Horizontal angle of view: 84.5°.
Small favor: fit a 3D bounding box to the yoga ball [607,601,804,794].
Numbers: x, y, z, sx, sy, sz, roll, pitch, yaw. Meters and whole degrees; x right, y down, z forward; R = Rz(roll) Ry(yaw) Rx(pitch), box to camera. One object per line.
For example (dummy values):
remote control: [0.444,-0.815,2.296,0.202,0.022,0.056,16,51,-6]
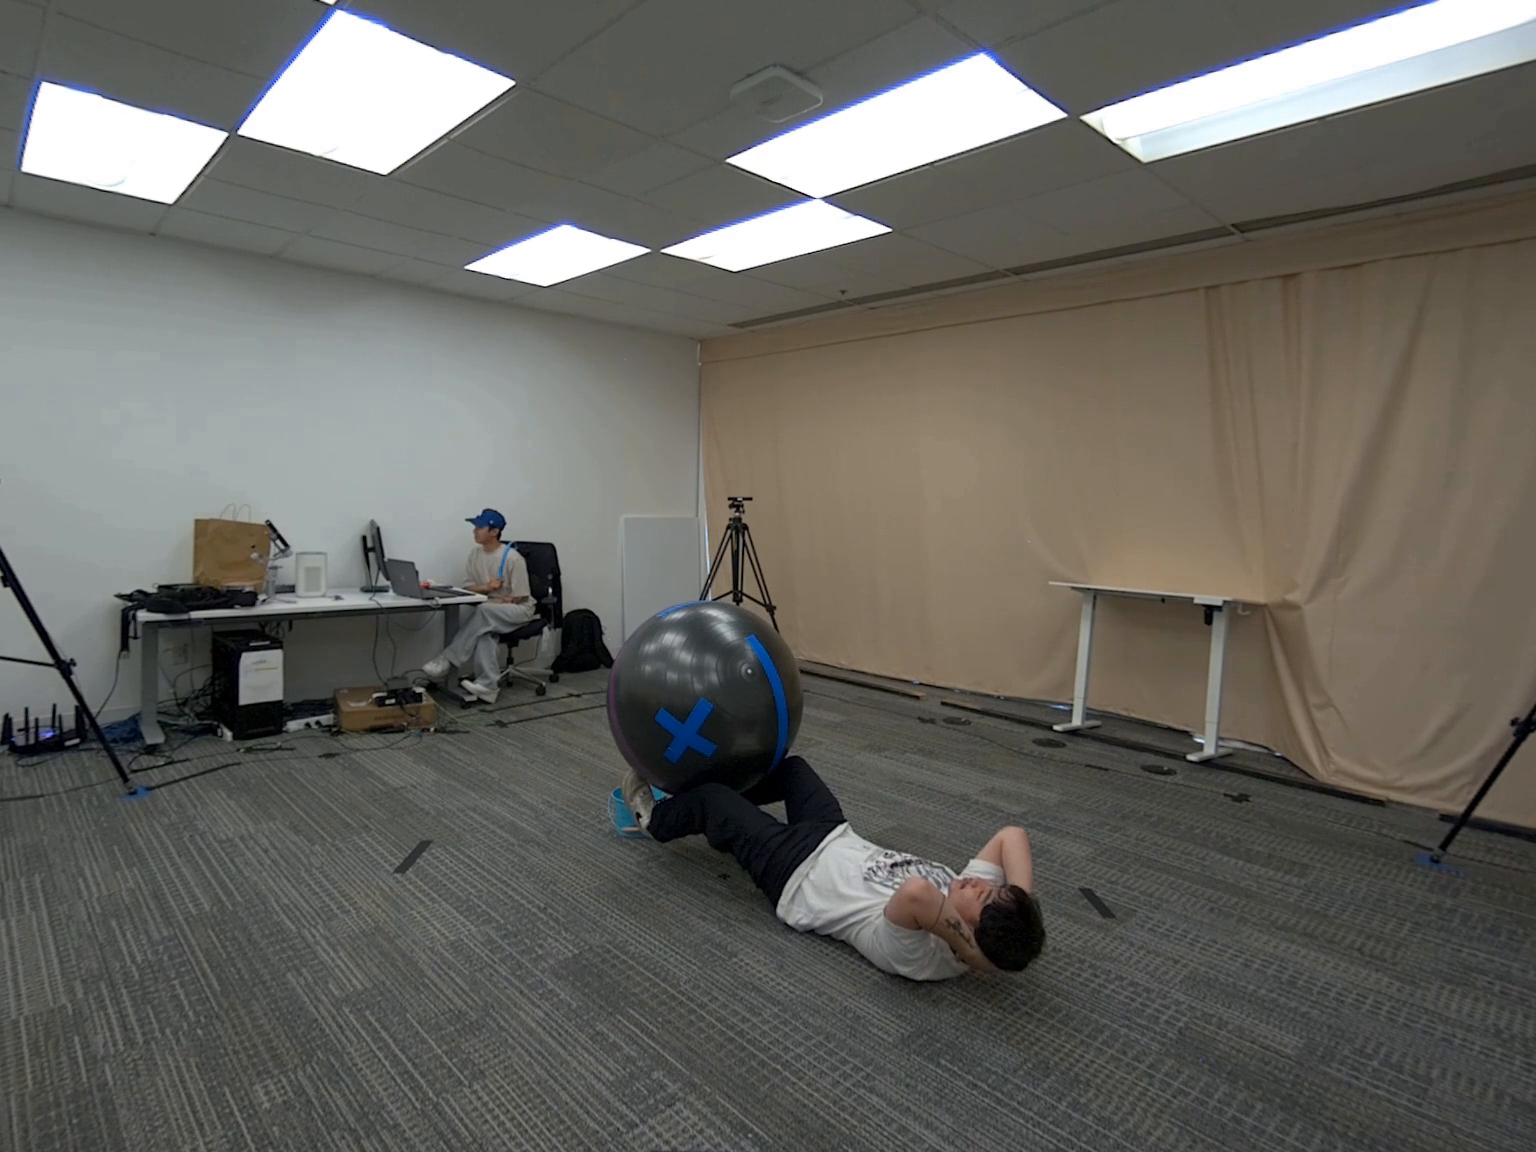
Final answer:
yoga ball: [-0.247,0.468,3.259,0.757,0.756,0.760,1,4,-1]
